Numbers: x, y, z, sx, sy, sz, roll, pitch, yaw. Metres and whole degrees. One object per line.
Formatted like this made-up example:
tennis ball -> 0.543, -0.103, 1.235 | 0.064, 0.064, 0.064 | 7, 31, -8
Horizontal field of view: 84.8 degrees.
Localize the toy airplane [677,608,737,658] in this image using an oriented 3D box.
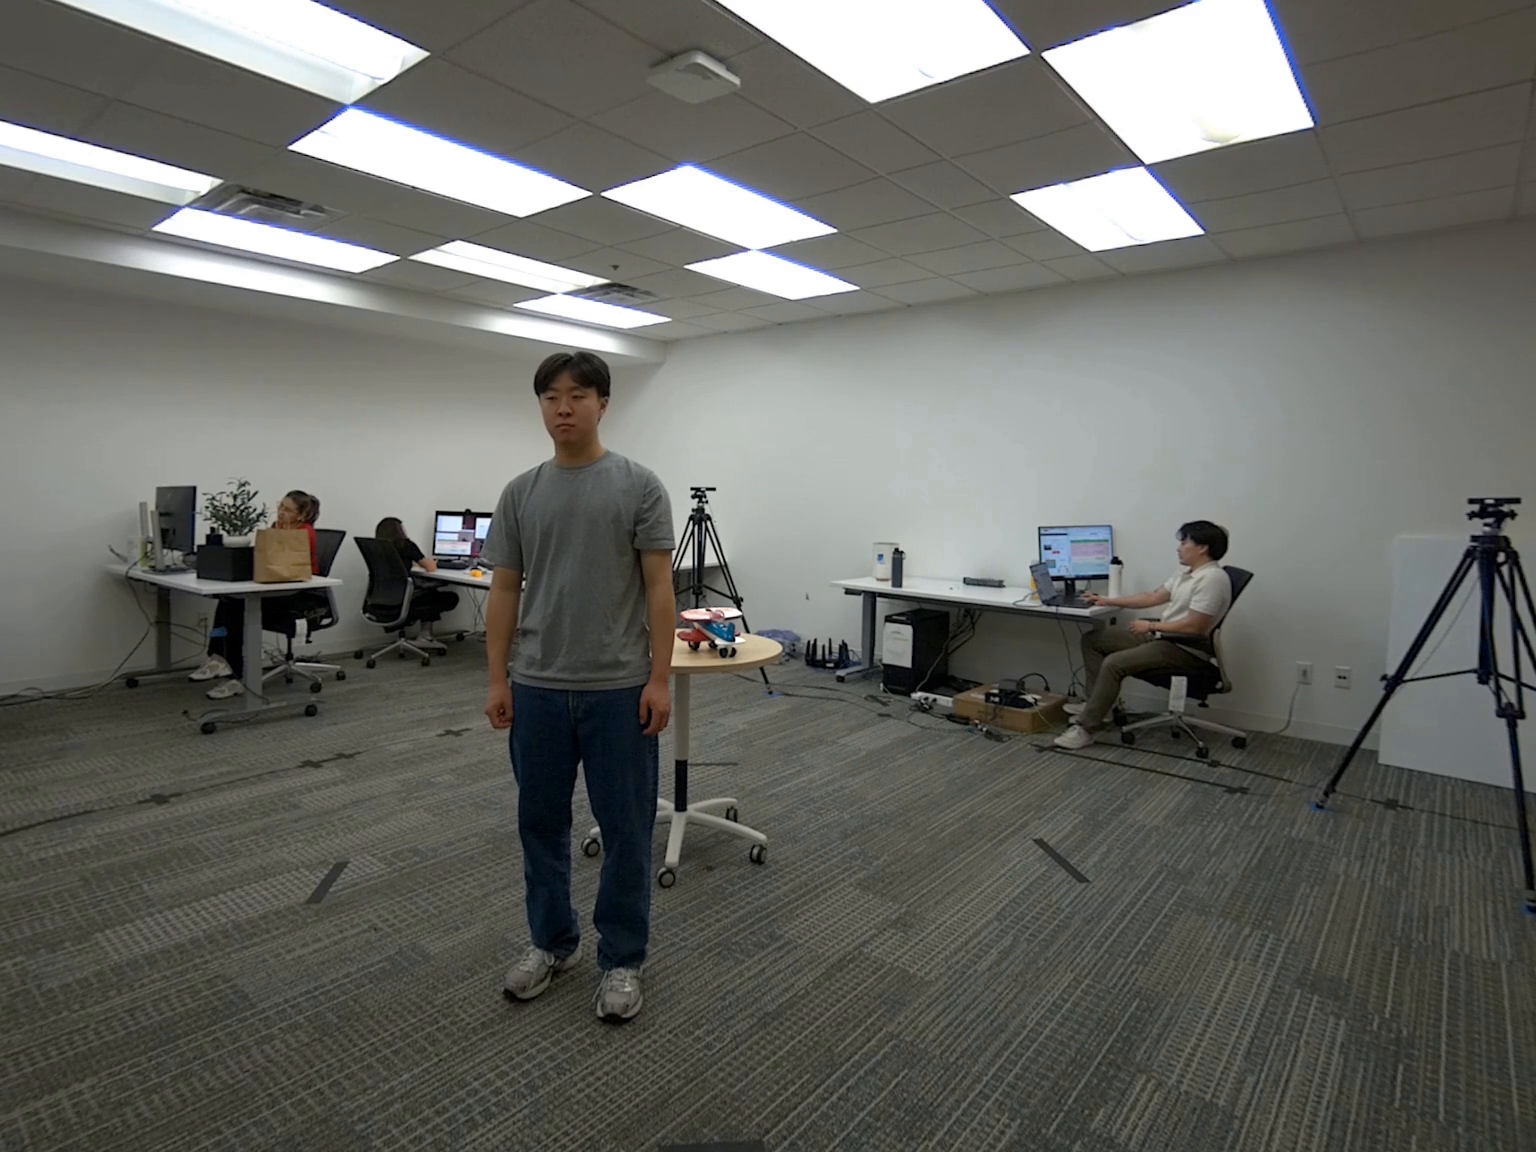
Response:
toy airplane -> -0.195, 0.203, 3.145 | 0.267, 0.156, 0.245 | 3, 6, 30
